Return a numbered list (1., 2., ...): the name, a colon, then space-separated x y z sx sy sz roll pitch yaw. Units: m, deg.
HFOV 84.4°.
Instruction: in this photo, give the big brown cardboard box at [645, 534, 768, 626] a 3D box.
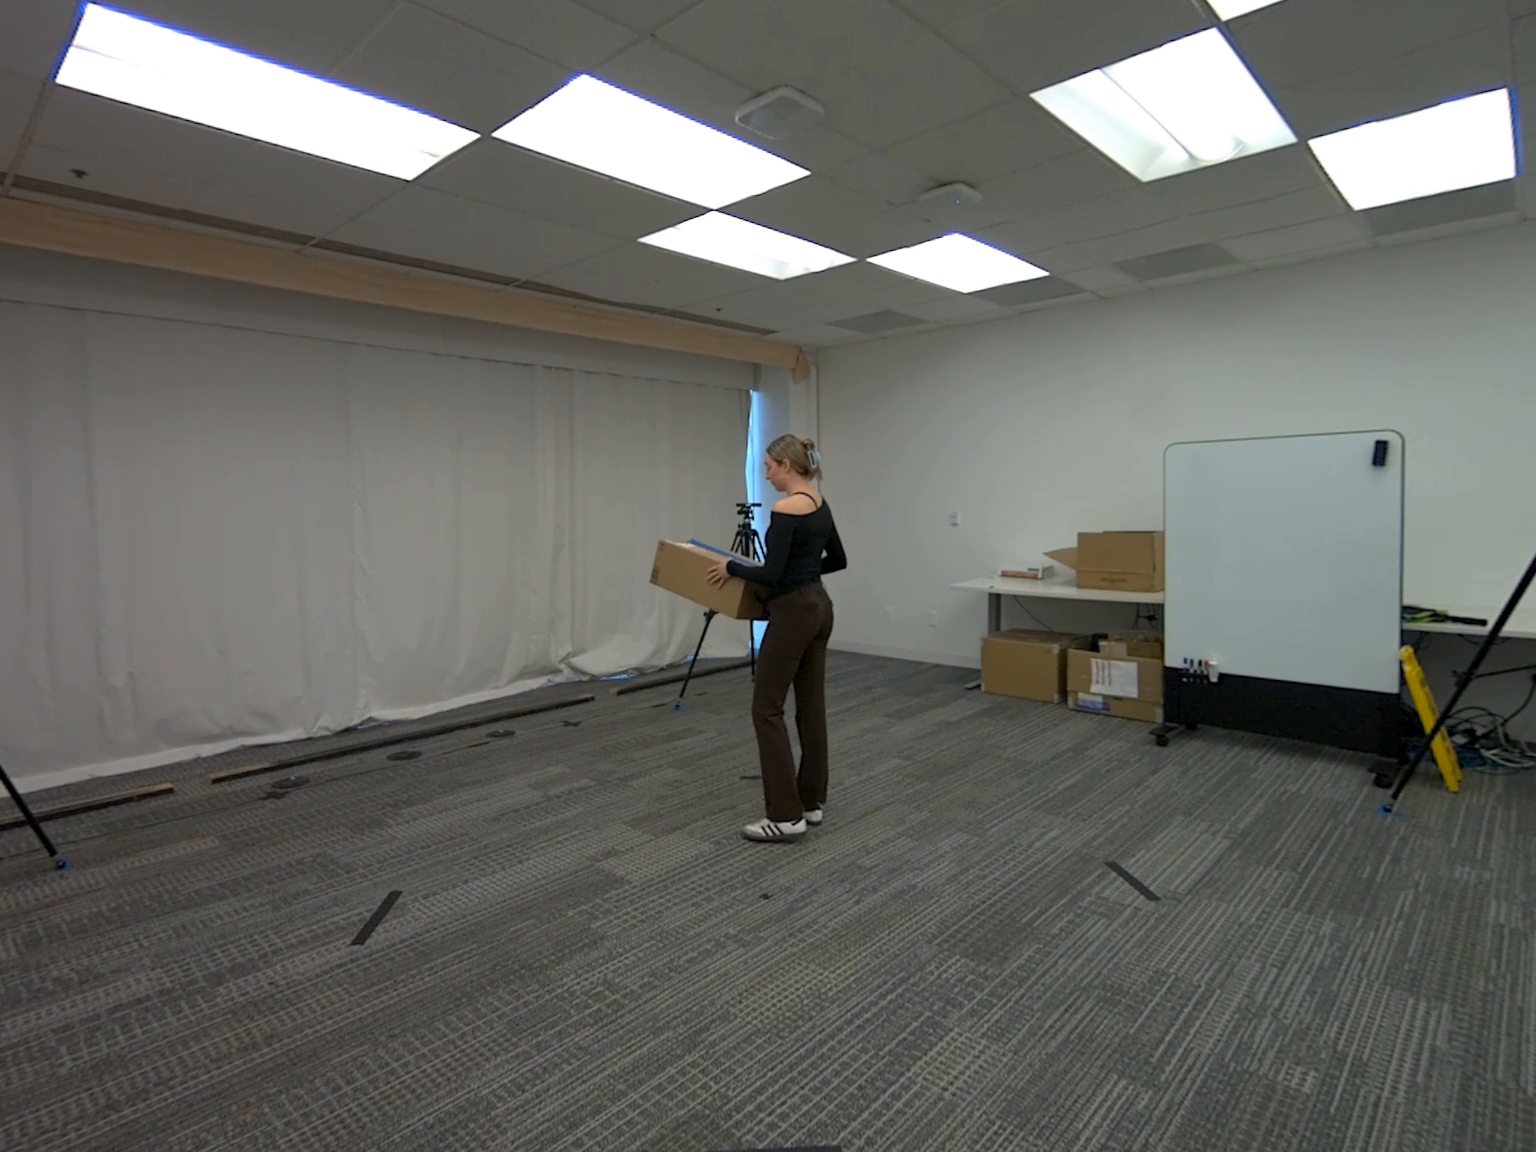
1. big brown cardboard box: -0.198 0.018 3.924 0.610 0.232 0.403 22 9 38
